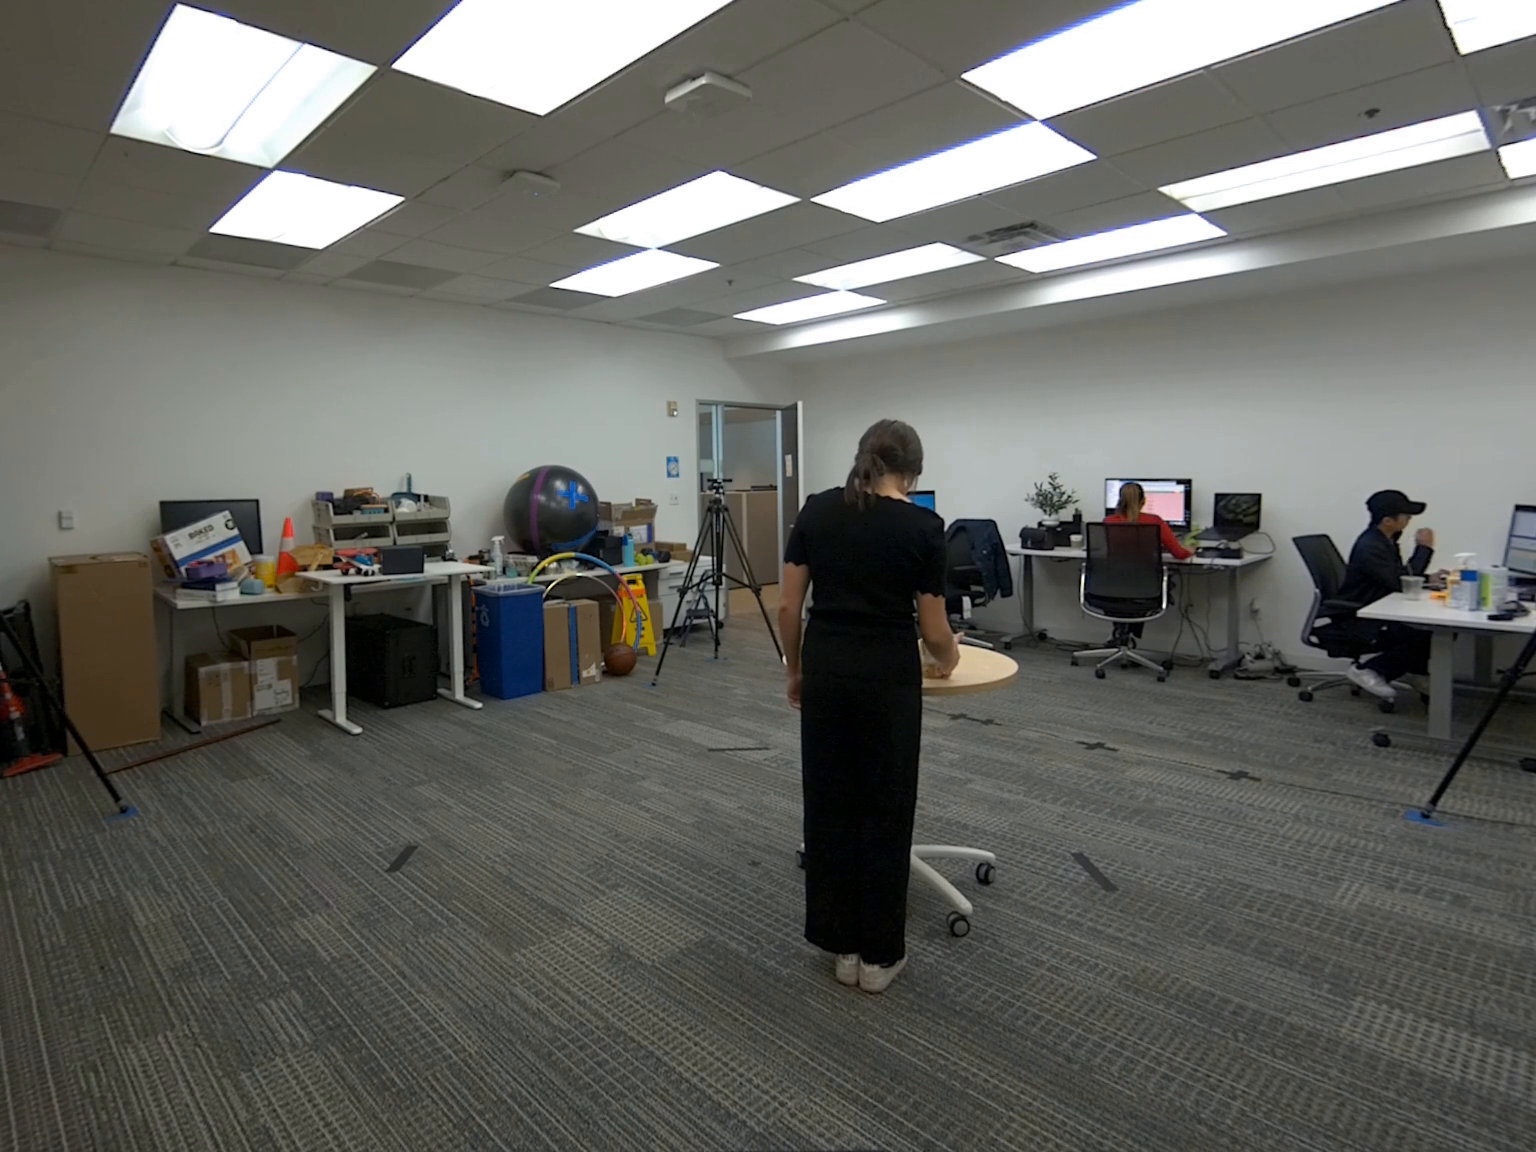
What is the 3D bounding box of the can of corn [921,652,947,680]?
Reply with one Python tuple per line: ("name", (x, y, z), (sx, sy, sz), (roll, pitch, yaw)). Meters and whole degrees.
("can of corn", (0.526, 0.251, 2.609), (0.074, 0.110, 0.074), (1, 5, -2))
